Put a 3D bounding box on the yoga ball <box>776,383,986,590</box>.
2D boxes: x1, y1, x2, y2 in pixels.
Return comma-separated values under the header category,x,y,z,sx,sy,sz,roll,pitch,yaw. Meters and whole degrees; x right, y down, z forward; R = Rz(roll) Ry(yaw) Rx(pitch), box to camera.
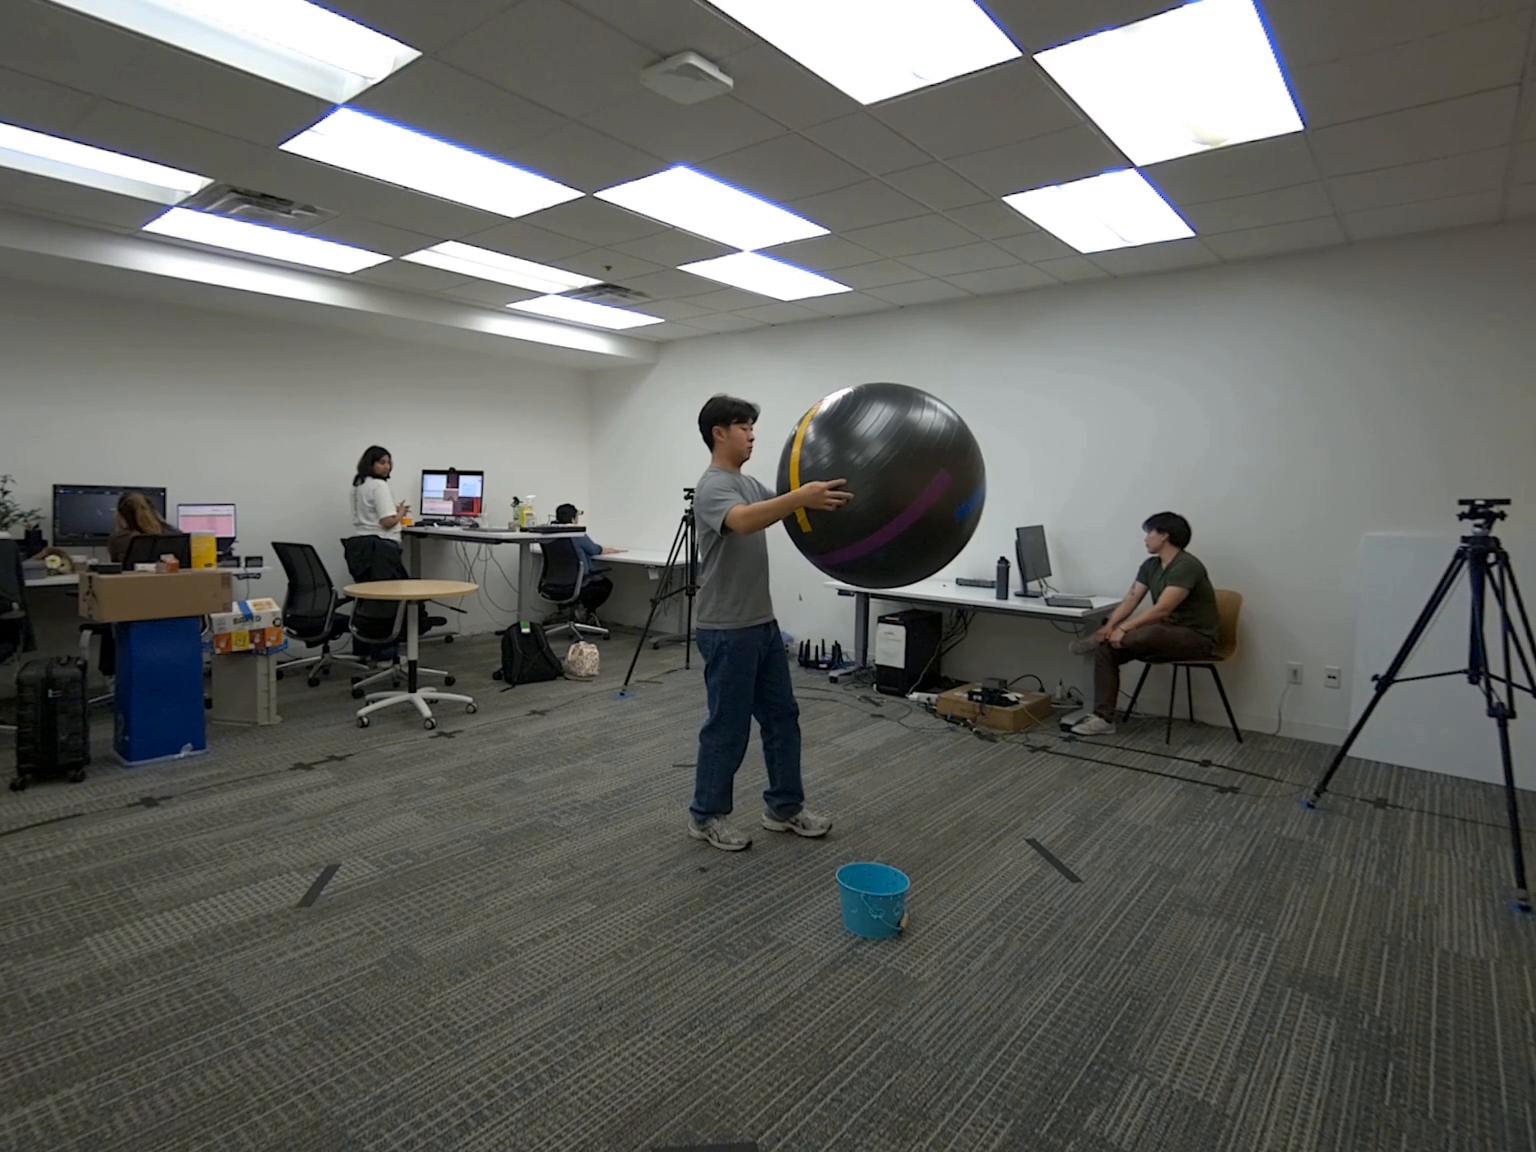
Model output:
category,x,y,z,sx,sy,sz,roll,pitch,yaw
yoga ball,0.403,-0.328,3.145,0.757,0.756,0.761,1,4,-2
